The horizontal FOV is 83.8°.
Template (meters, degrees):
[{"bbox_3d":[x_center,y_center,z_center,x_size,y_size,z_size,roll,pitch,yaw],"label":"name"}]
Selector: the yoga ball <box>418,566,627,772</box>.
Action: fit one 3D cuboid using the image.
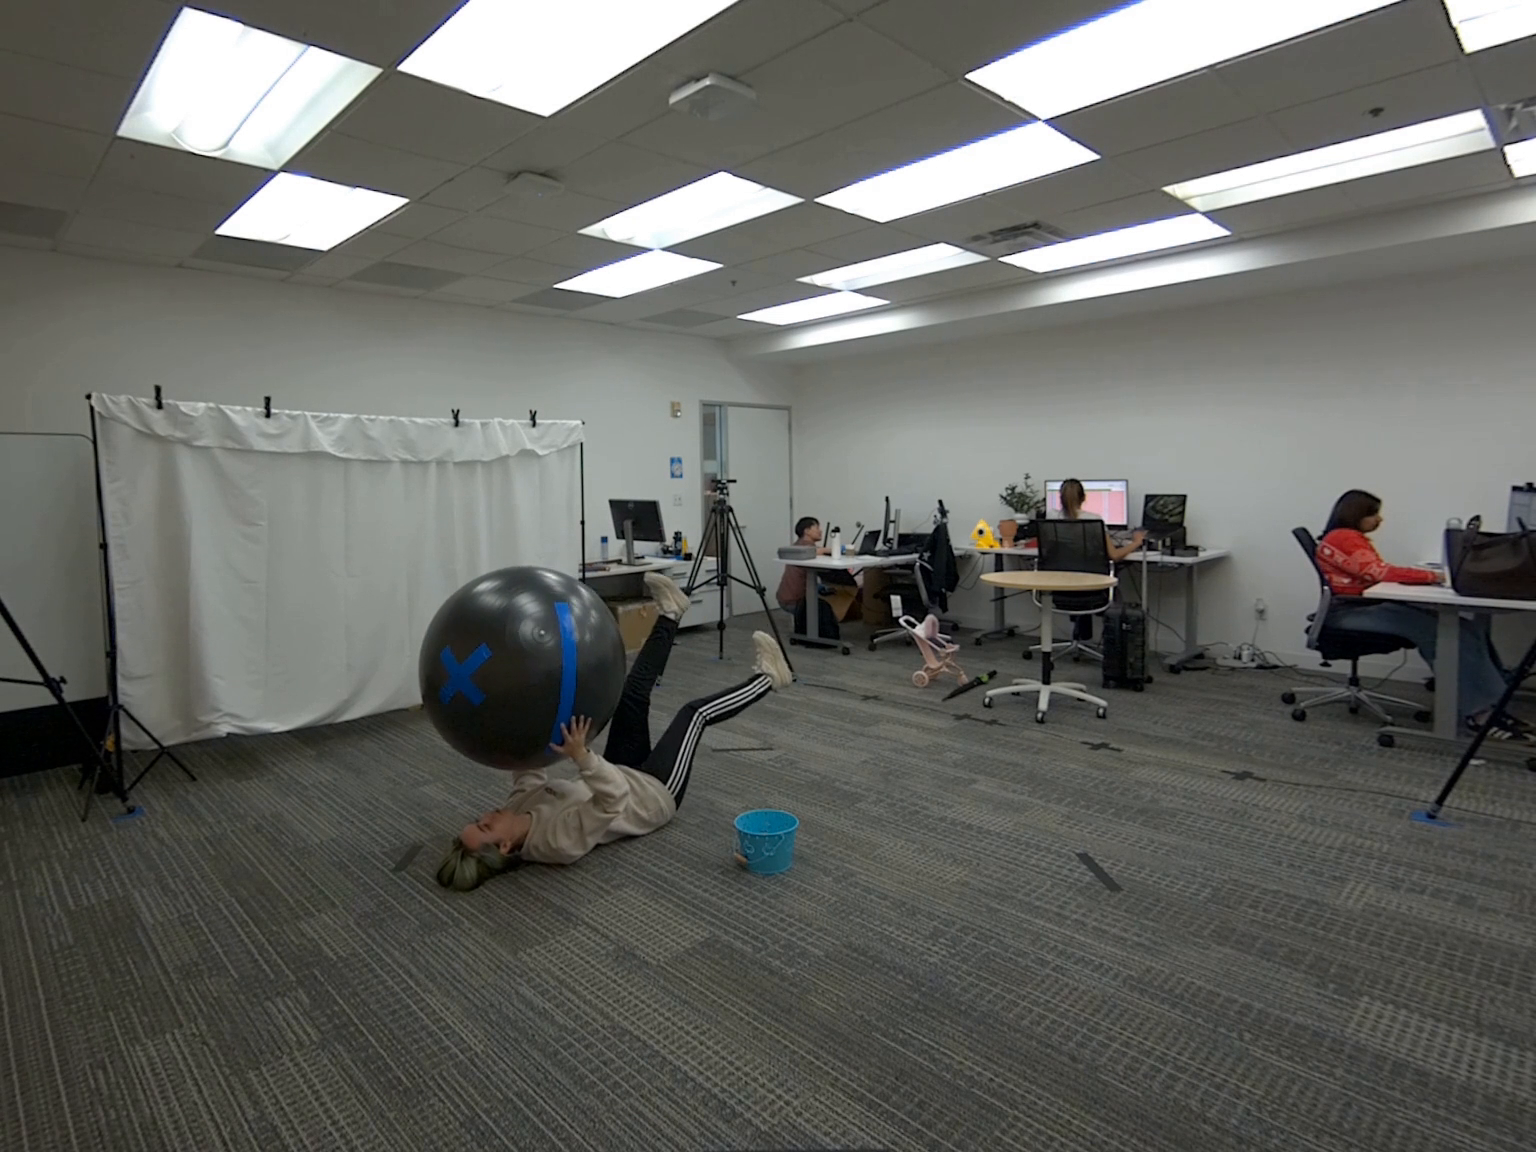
[{"bbox_3d":[-0.920,0.346,3.214,0.757,0.755,0.762,-1,5,-2],"label":"yoga ball"}]
